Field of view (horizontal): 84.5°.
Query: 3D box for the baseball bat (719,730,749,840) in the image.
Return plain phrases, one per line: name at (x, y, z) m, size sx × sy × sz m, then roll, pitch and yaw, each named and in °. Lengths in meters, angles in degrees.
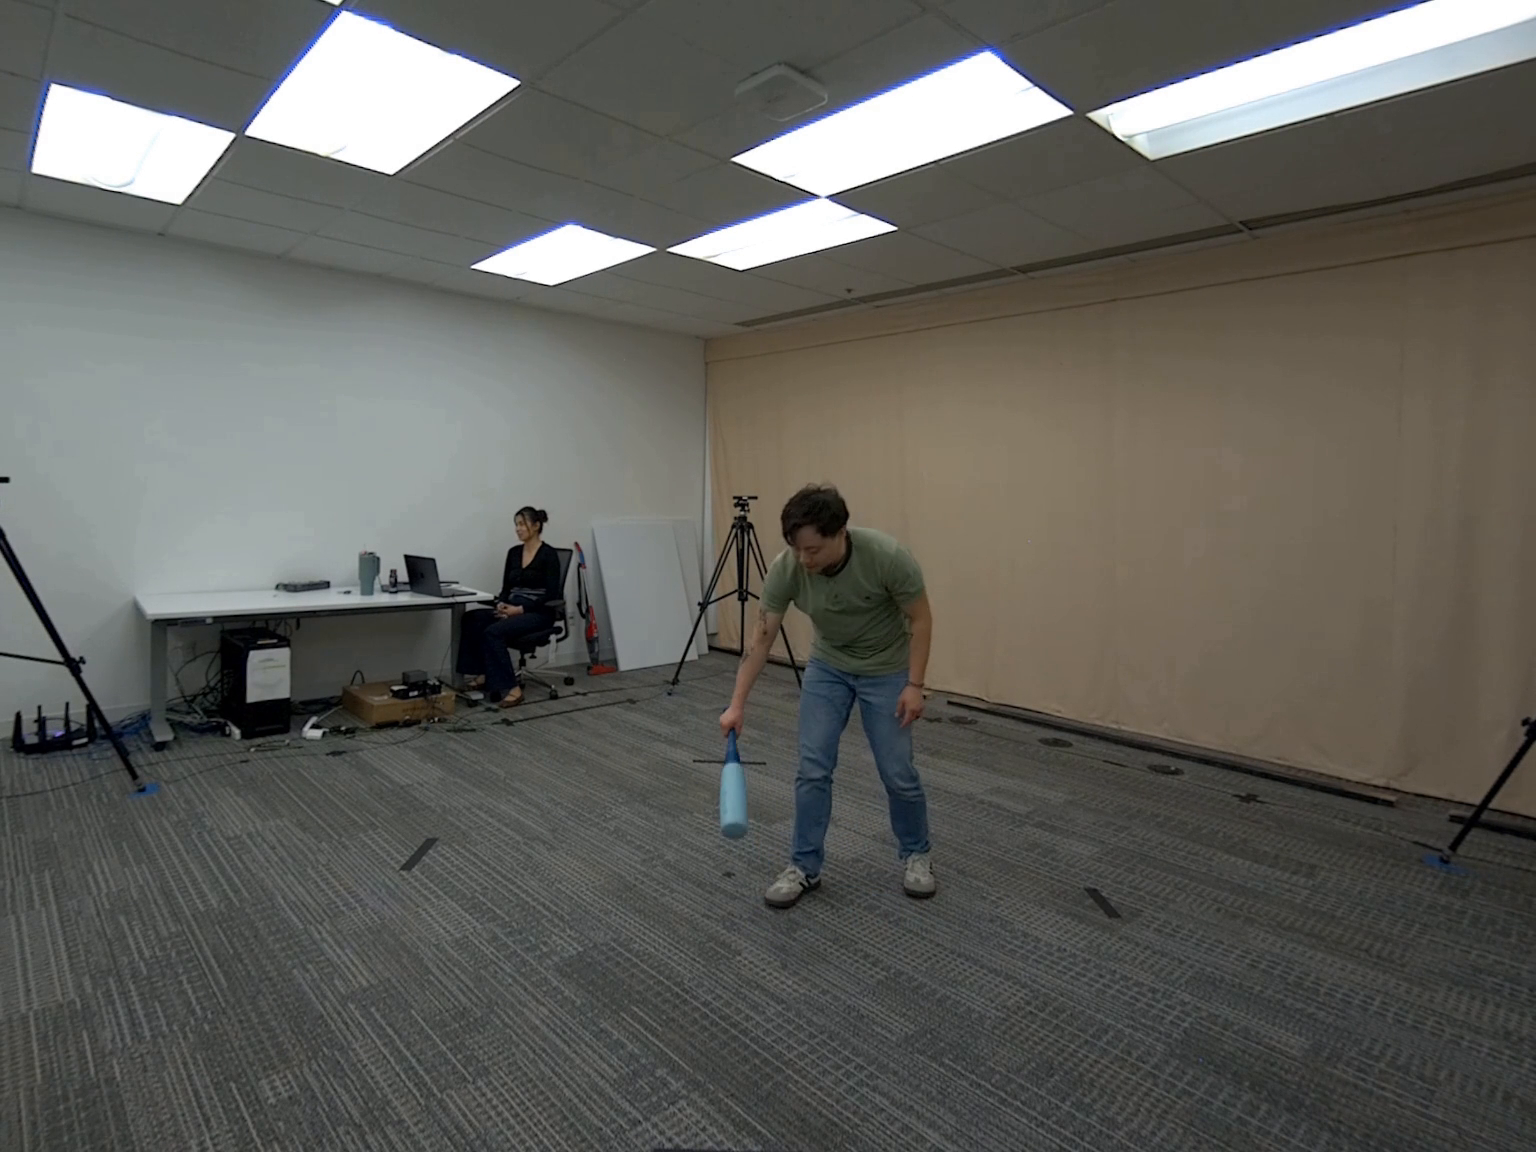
baseball bat at (-0.108, 0.637, 2.787) m, size 0.089 × 0.087 × 0.554 m, roll 1°, pitch 34°, yaw -2°
